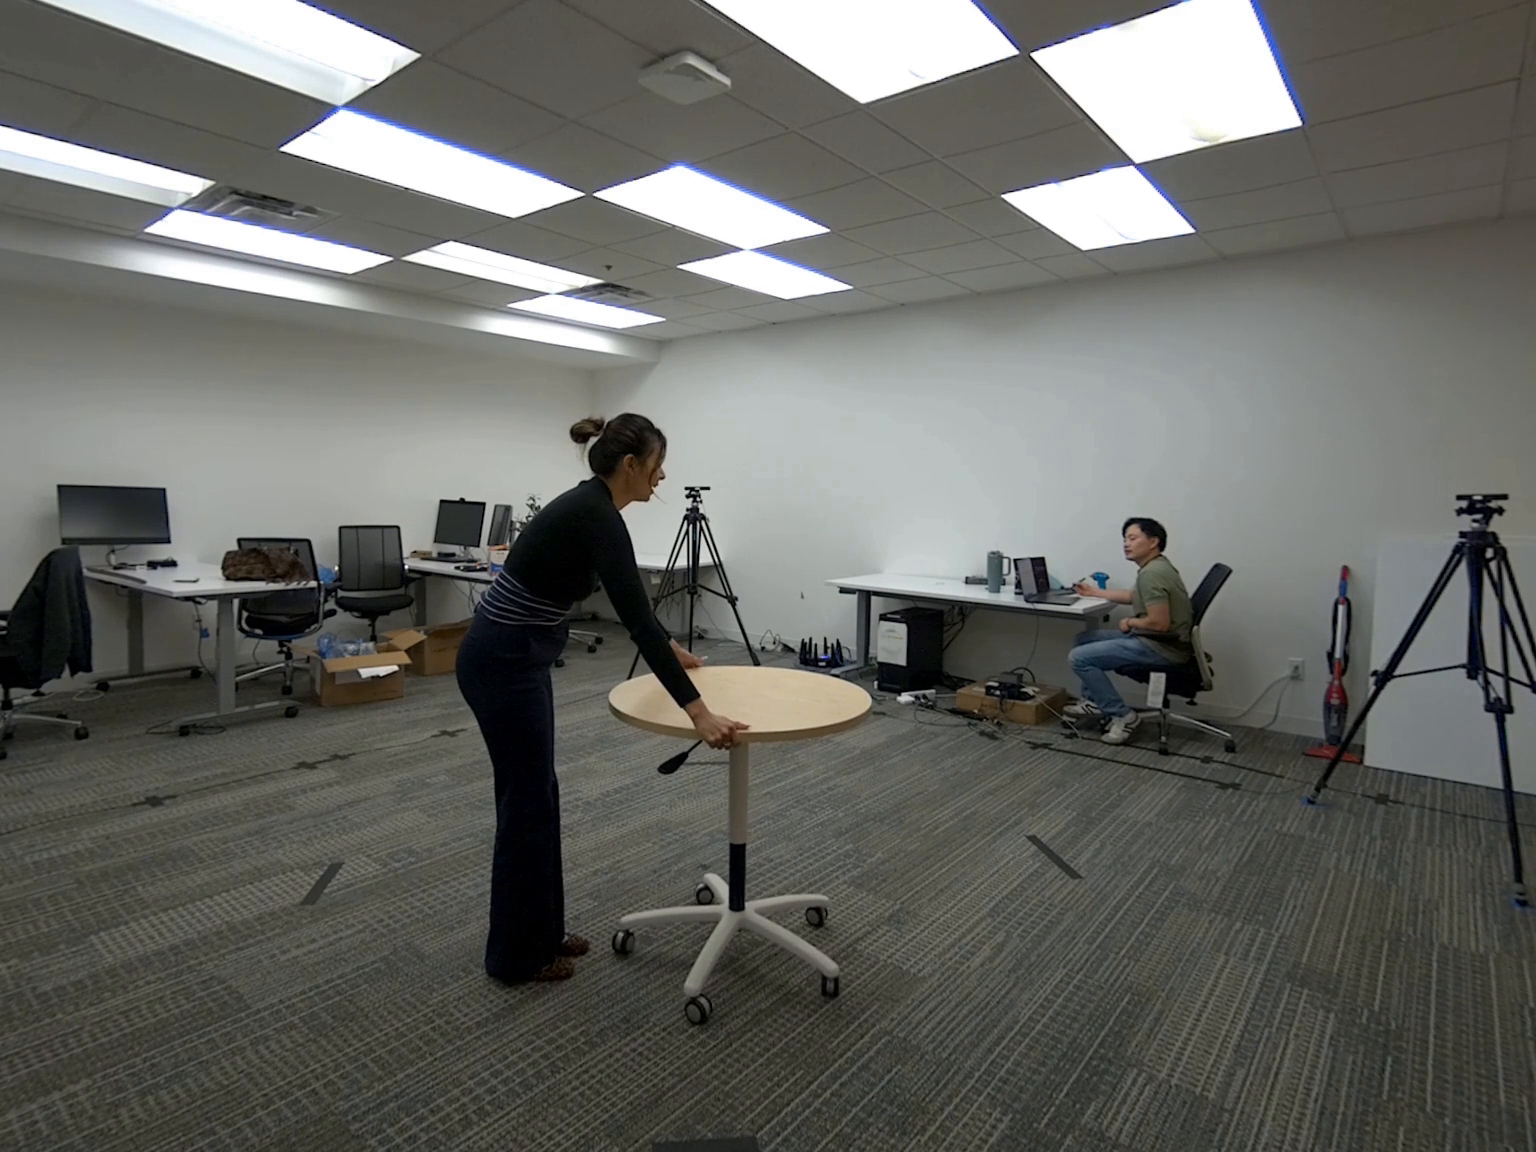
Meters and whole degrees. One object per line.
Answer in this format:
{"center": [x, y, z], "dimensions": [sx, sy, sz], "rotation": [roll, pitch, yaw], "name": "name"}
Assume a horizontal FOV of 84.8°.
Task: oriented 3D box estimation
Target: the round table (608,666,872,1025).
{"center": [-0.094, 0.740, 2.510], "dimensions": [0.763, 0.791, 0.768], "rotation": [0, 5, -2], "name": "round table"}
